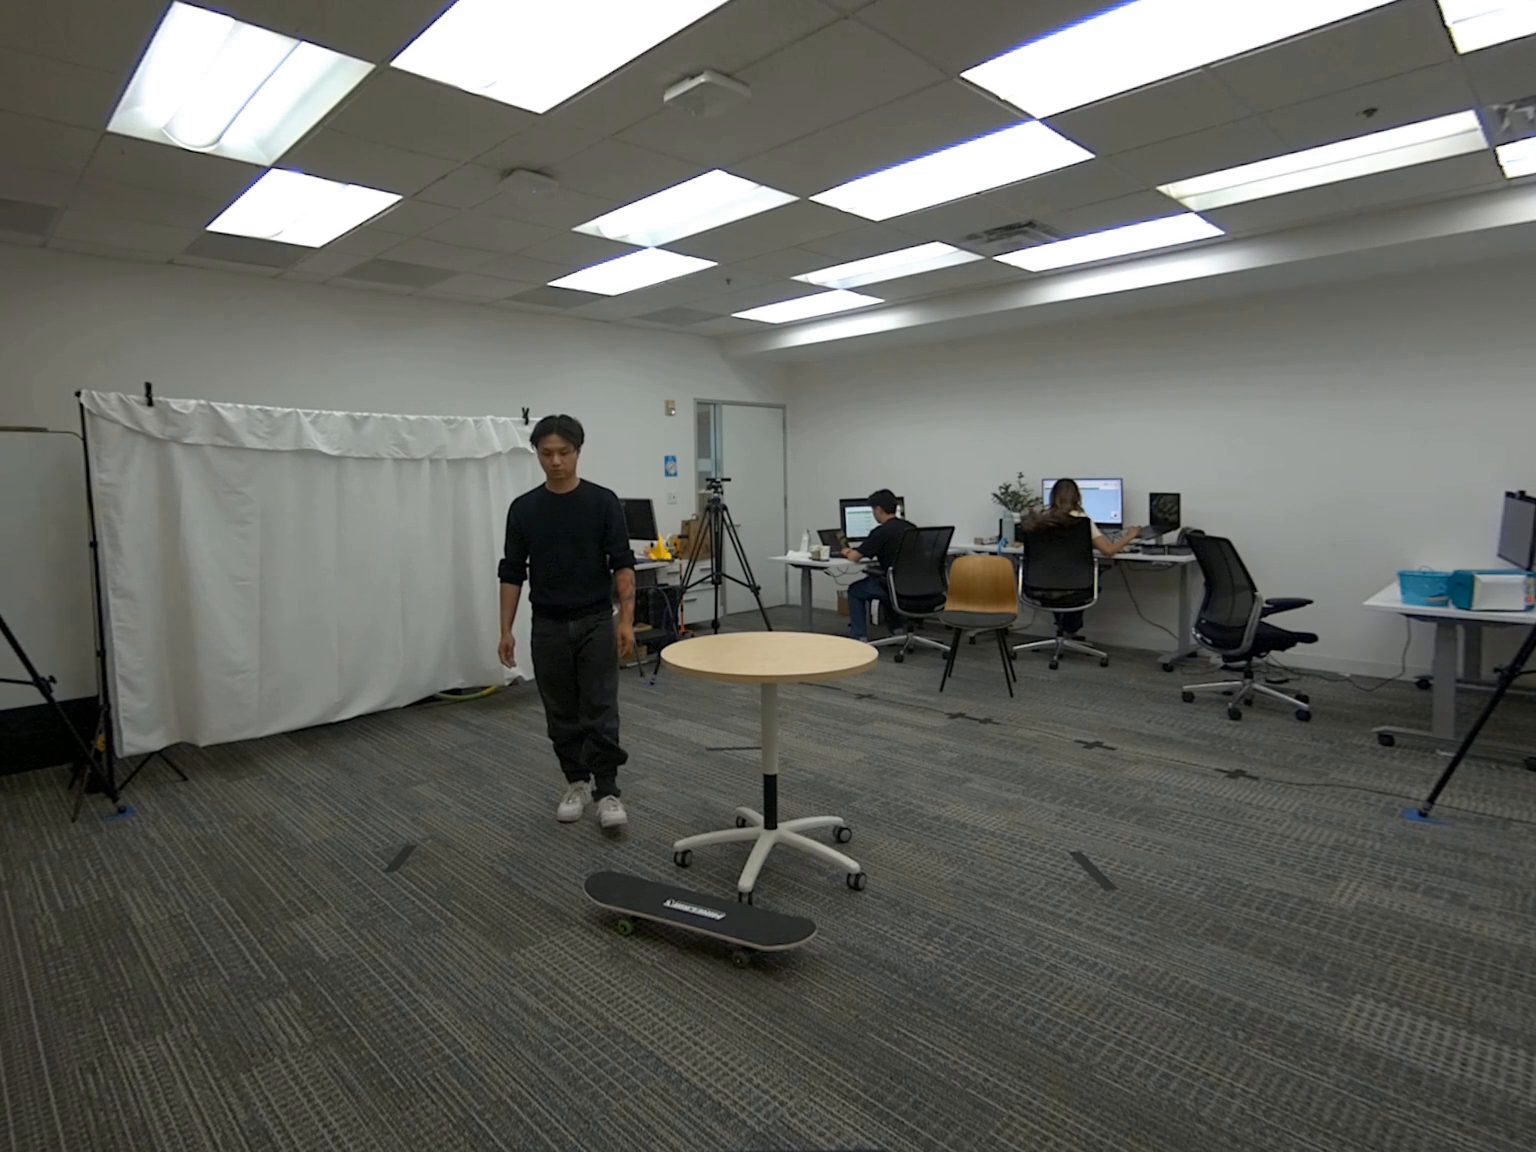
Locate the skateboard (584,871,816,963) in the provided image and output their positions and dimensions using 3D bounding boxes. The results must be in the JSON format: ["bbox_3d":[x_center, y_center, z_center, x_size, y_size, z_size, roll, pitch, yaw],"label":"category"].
[{"bbox_3d":[-0.226,1.043,2.603,0.805,0.110,0.189,3,7,28],"label":"skateboard"}]
